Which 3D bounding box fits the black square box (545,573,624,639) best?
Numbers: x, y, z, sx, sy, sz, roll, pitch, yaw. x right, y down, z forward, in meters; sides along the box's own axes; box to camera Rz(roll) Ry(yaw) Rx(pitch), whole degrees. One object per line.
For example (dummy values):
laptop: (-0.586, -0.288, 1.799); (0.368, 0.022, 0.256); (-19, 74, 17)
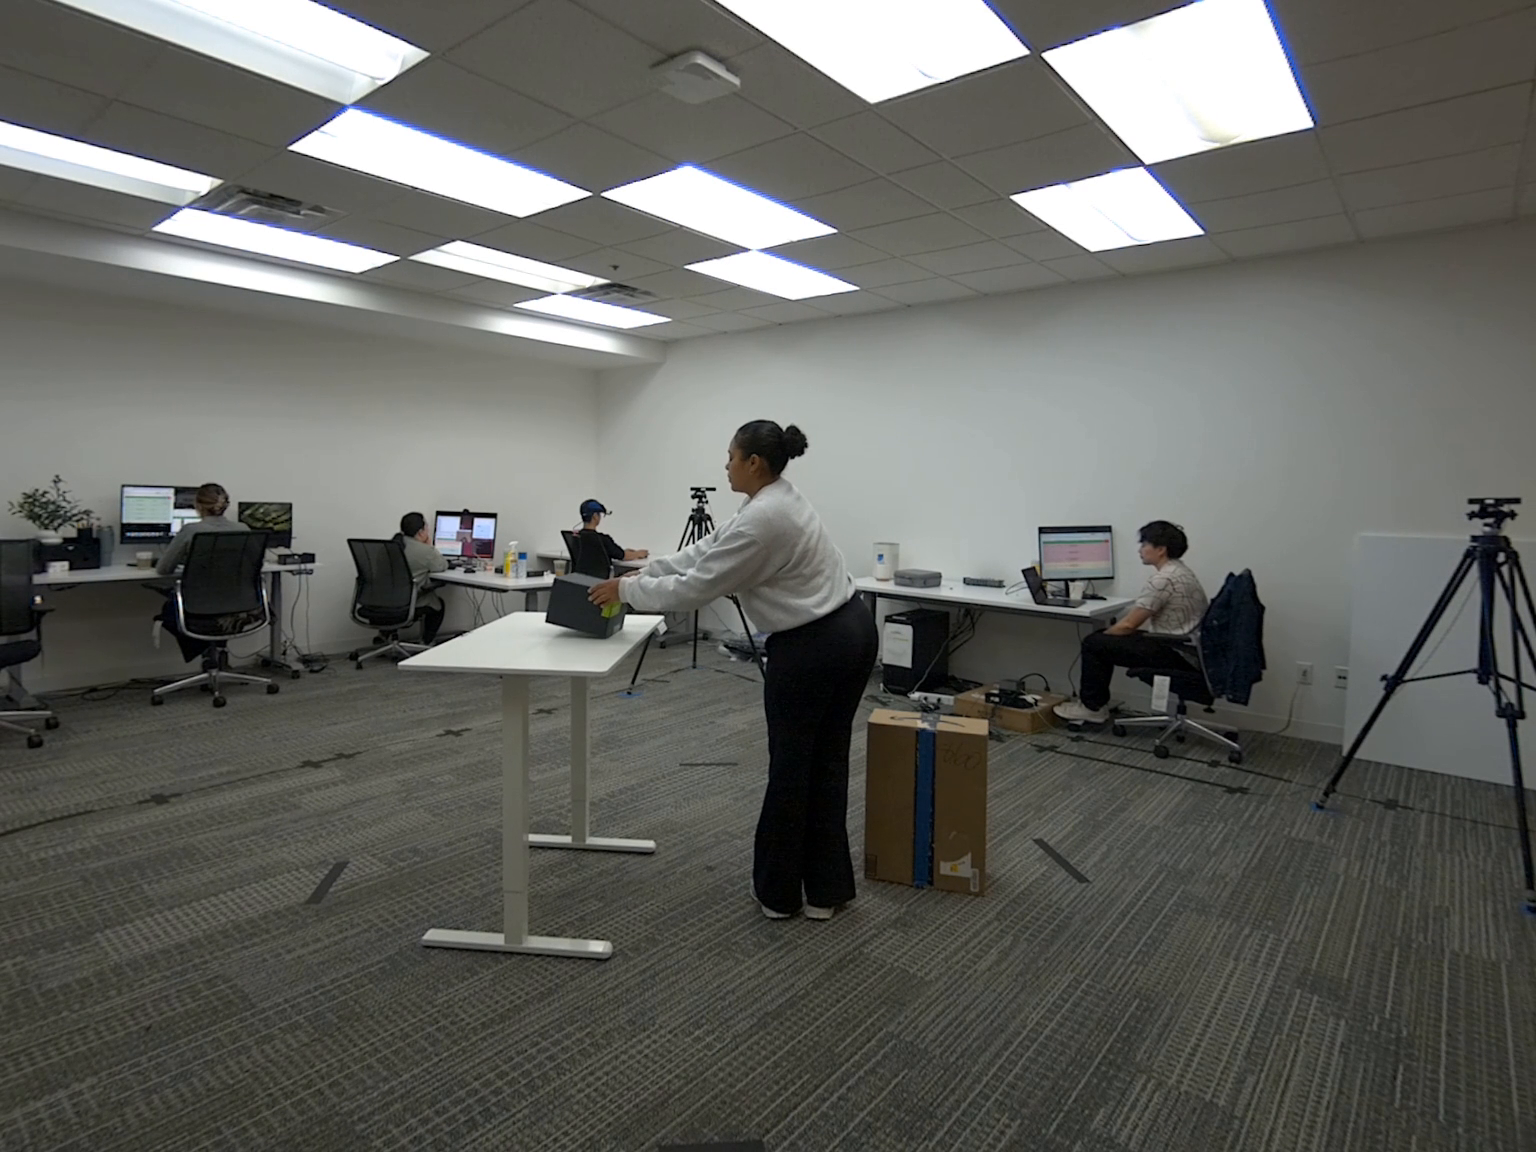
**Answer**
black square box: (-0.627, 0.092, 2.918); (0.218, 0.155, 0.227); (11, 6, 3)
